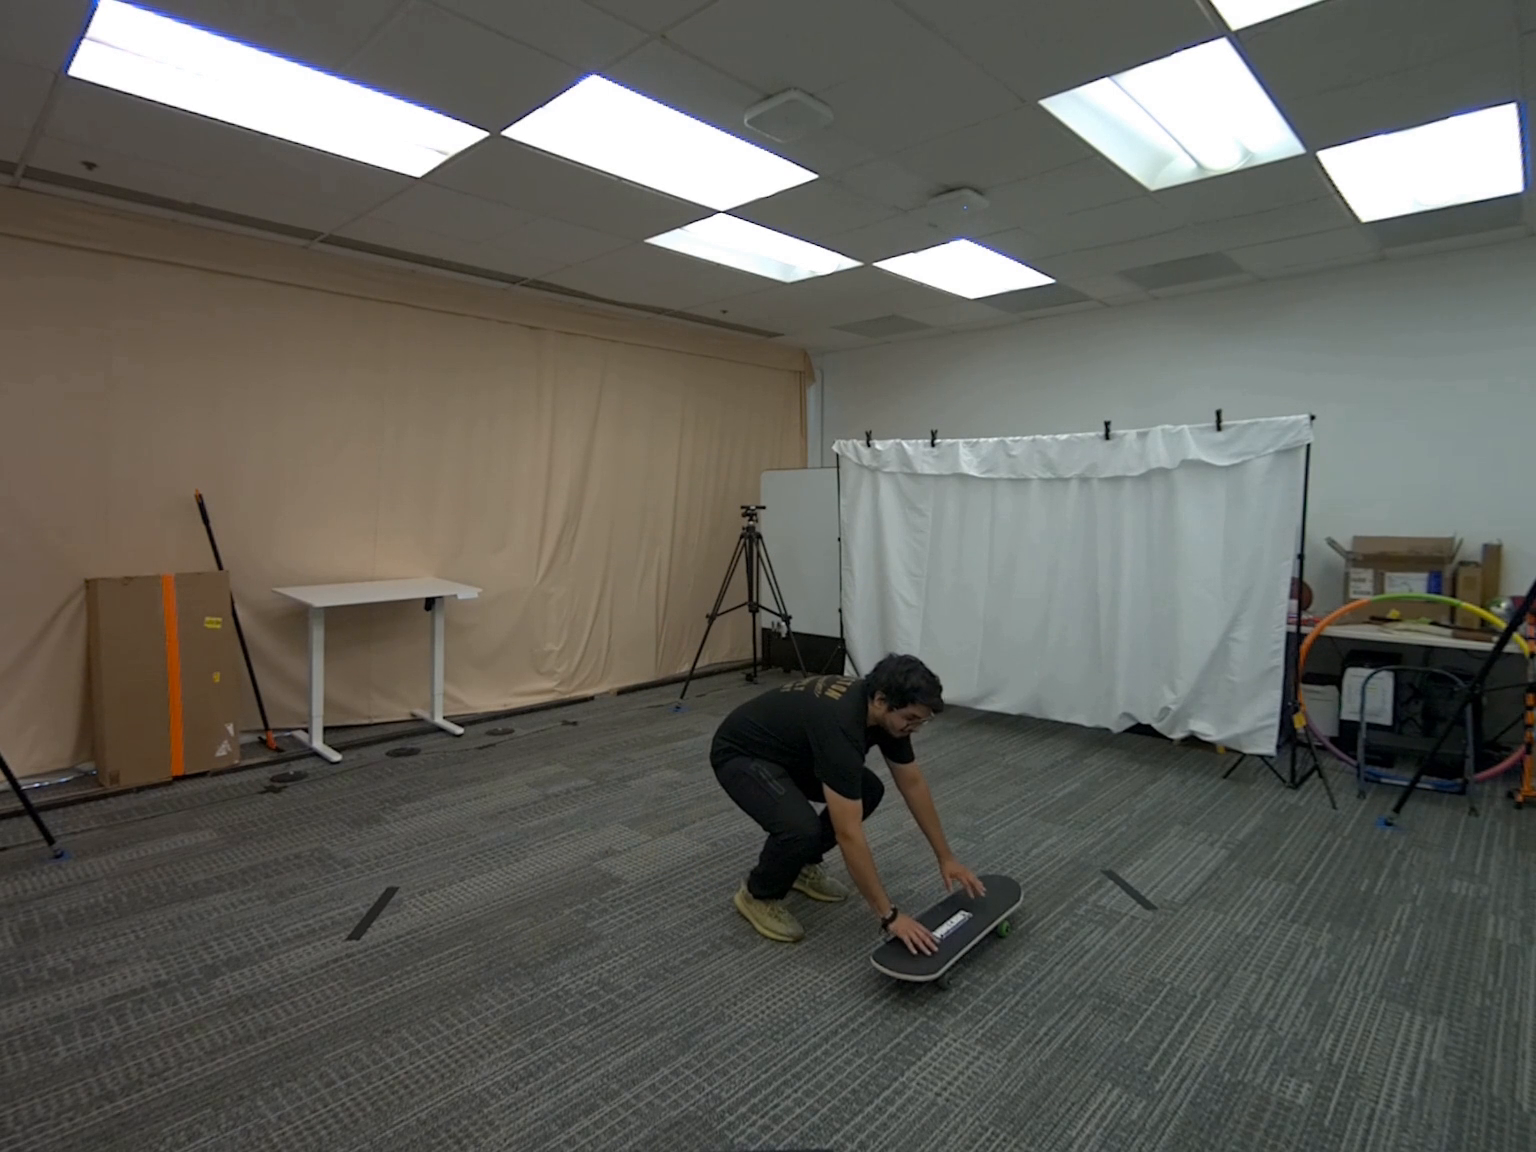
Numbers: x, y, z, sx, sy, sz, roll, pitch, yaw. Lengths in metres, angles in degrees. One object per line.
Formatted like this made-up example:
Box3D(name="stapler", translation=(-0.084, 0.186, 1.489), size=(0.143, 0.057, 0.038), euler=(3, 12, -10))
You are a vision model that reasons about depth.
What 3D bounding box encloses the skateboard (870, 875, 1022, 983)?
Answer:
Box3D(name="skateboard", translation=(0.577, 1.117, 2.623), size=(0.200, 0.110, 0.762), euler=(4, 7, 39))
